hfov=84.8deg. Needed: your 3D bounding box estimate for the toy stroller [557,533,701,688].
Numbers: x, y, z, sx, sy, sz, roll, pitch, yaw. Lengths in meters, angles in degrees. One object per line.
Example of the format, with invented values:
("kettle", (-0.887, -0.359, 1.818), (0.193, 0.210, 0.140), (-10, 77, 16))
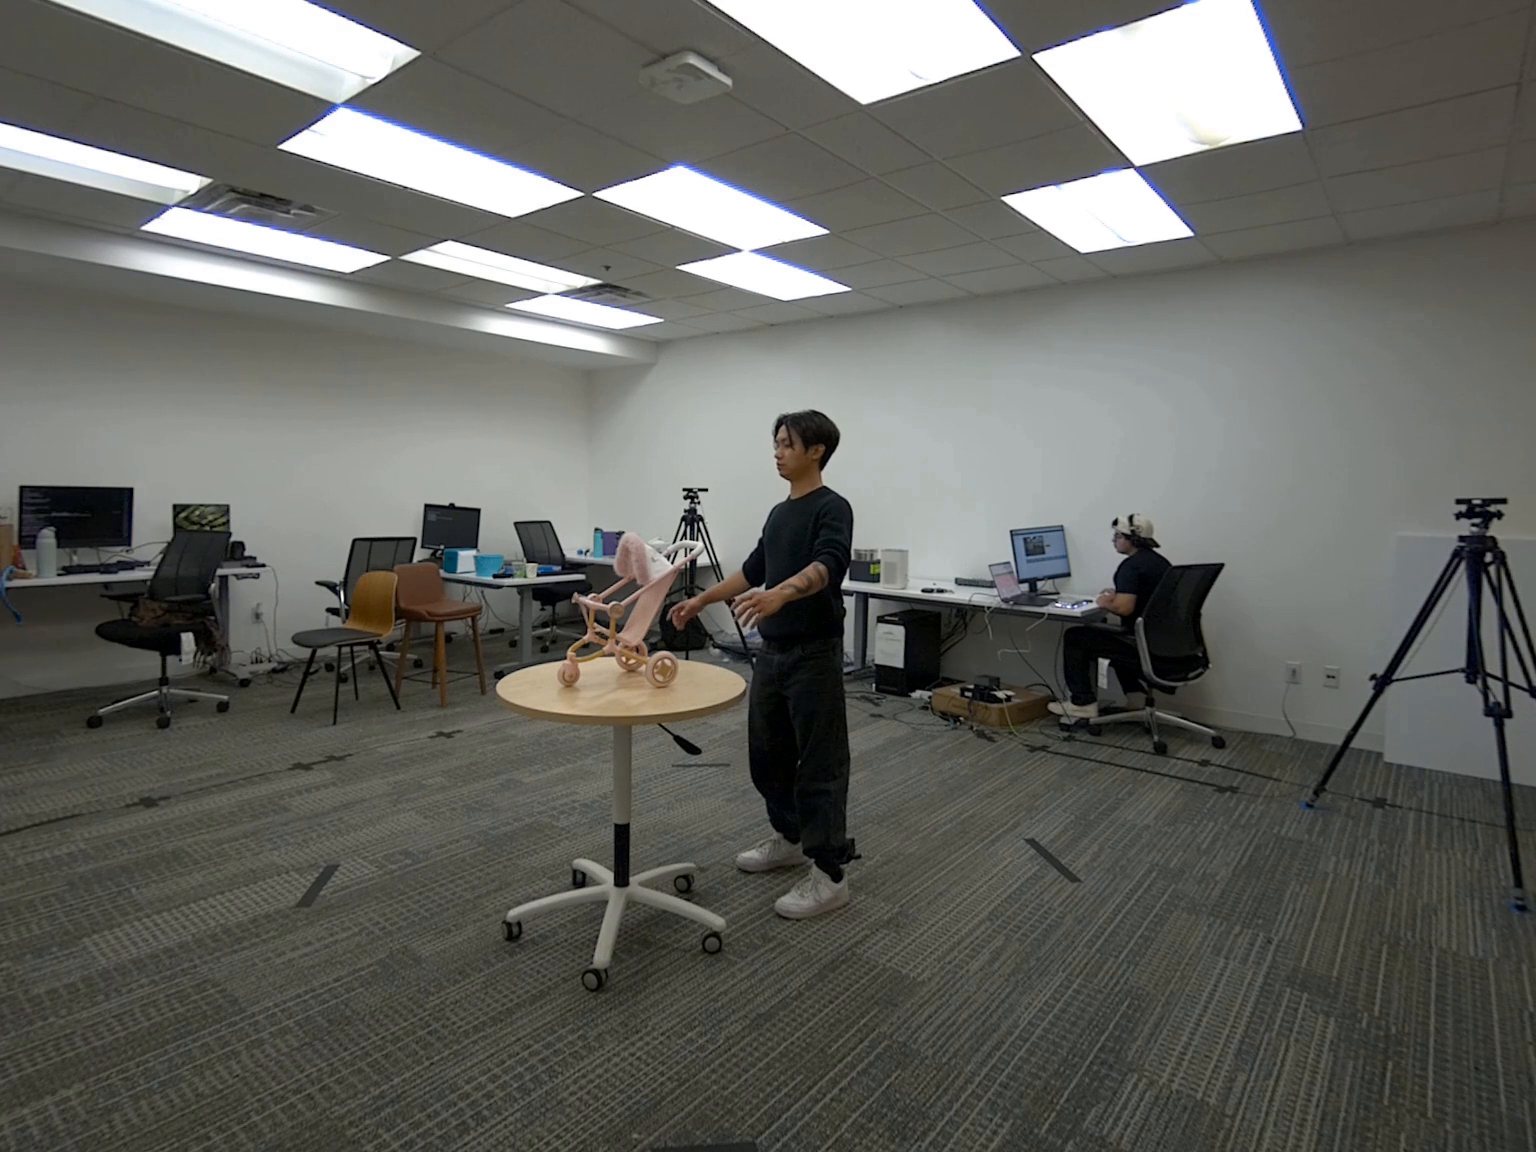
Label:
("toy stroller", (-0.453, 0.104, 2.652), (0.332, 0.536, 0.289), (15, -3, -24))
